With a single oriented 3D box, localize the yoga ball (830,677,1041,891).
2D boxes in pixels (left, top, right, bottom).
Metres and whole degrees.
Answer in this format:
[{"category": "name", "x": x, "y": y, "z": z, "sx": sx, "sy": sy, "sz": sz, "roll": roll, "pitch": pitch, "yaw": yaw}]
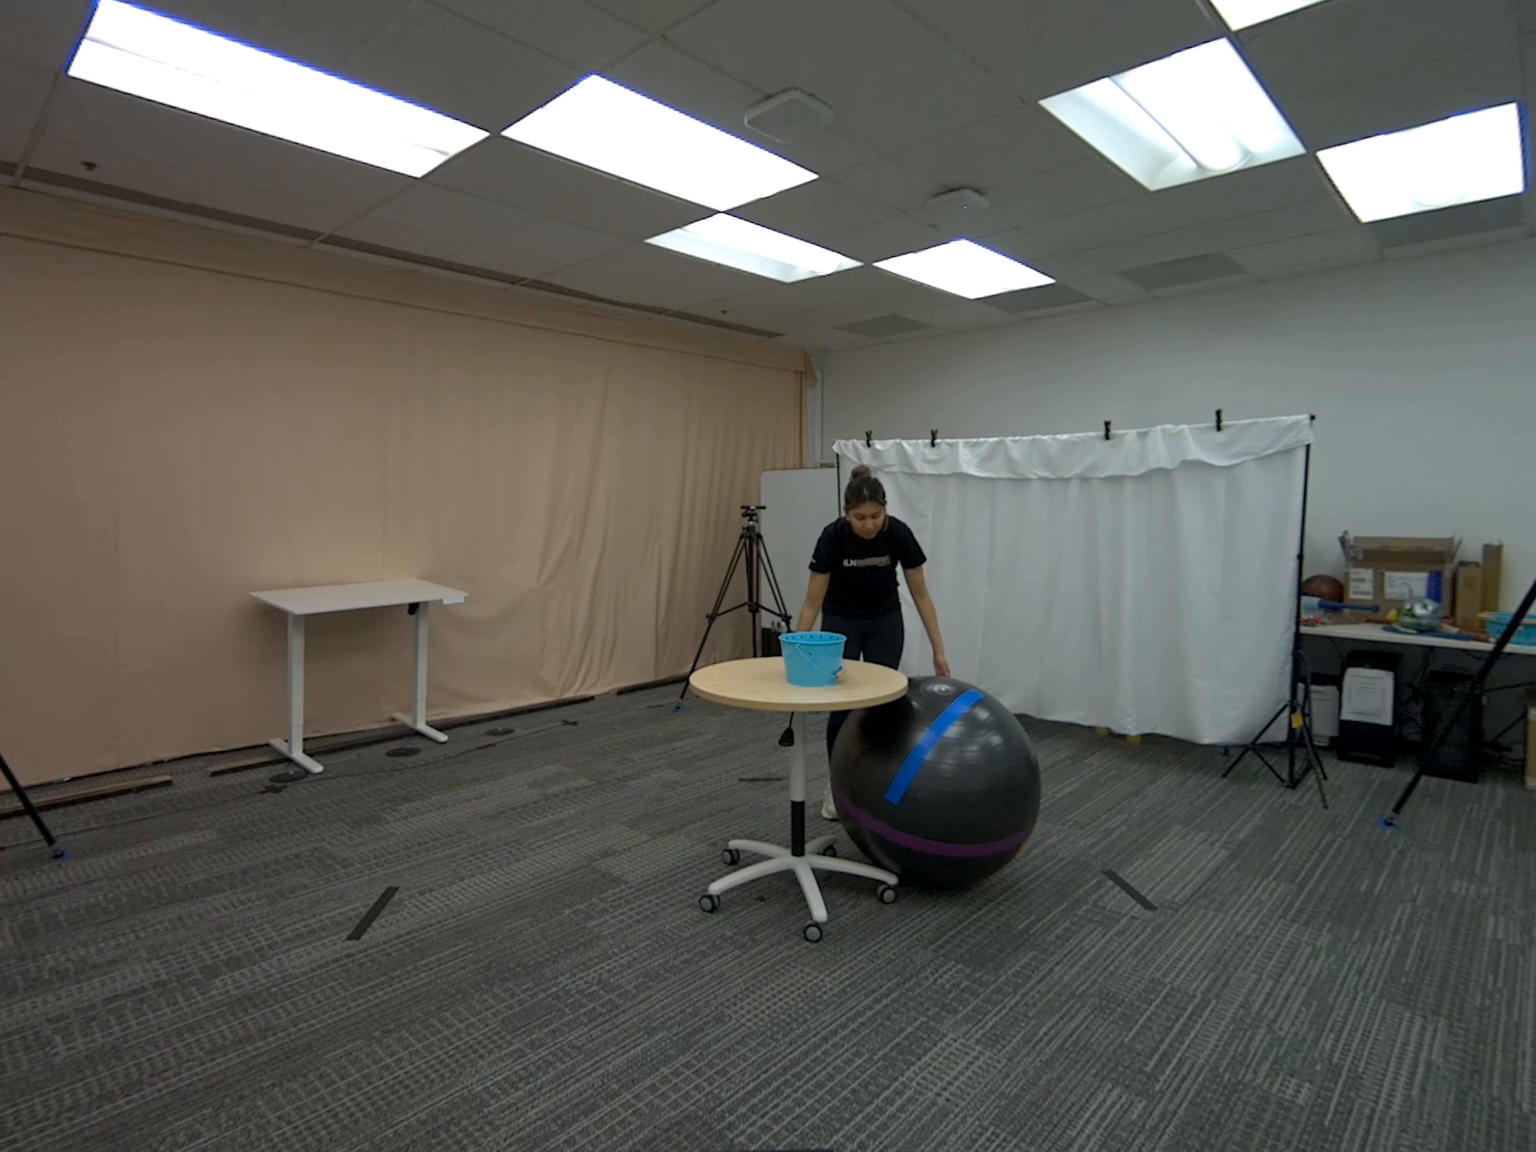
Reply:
[{"category": "yoga ball", "x": 0.635, "y": 0.763, "z": 3.133, "sx": 0.757, "sy": 0.756, "sz": 0.761, "roll": 0, "pitch": 4, "yaw": -2}]
